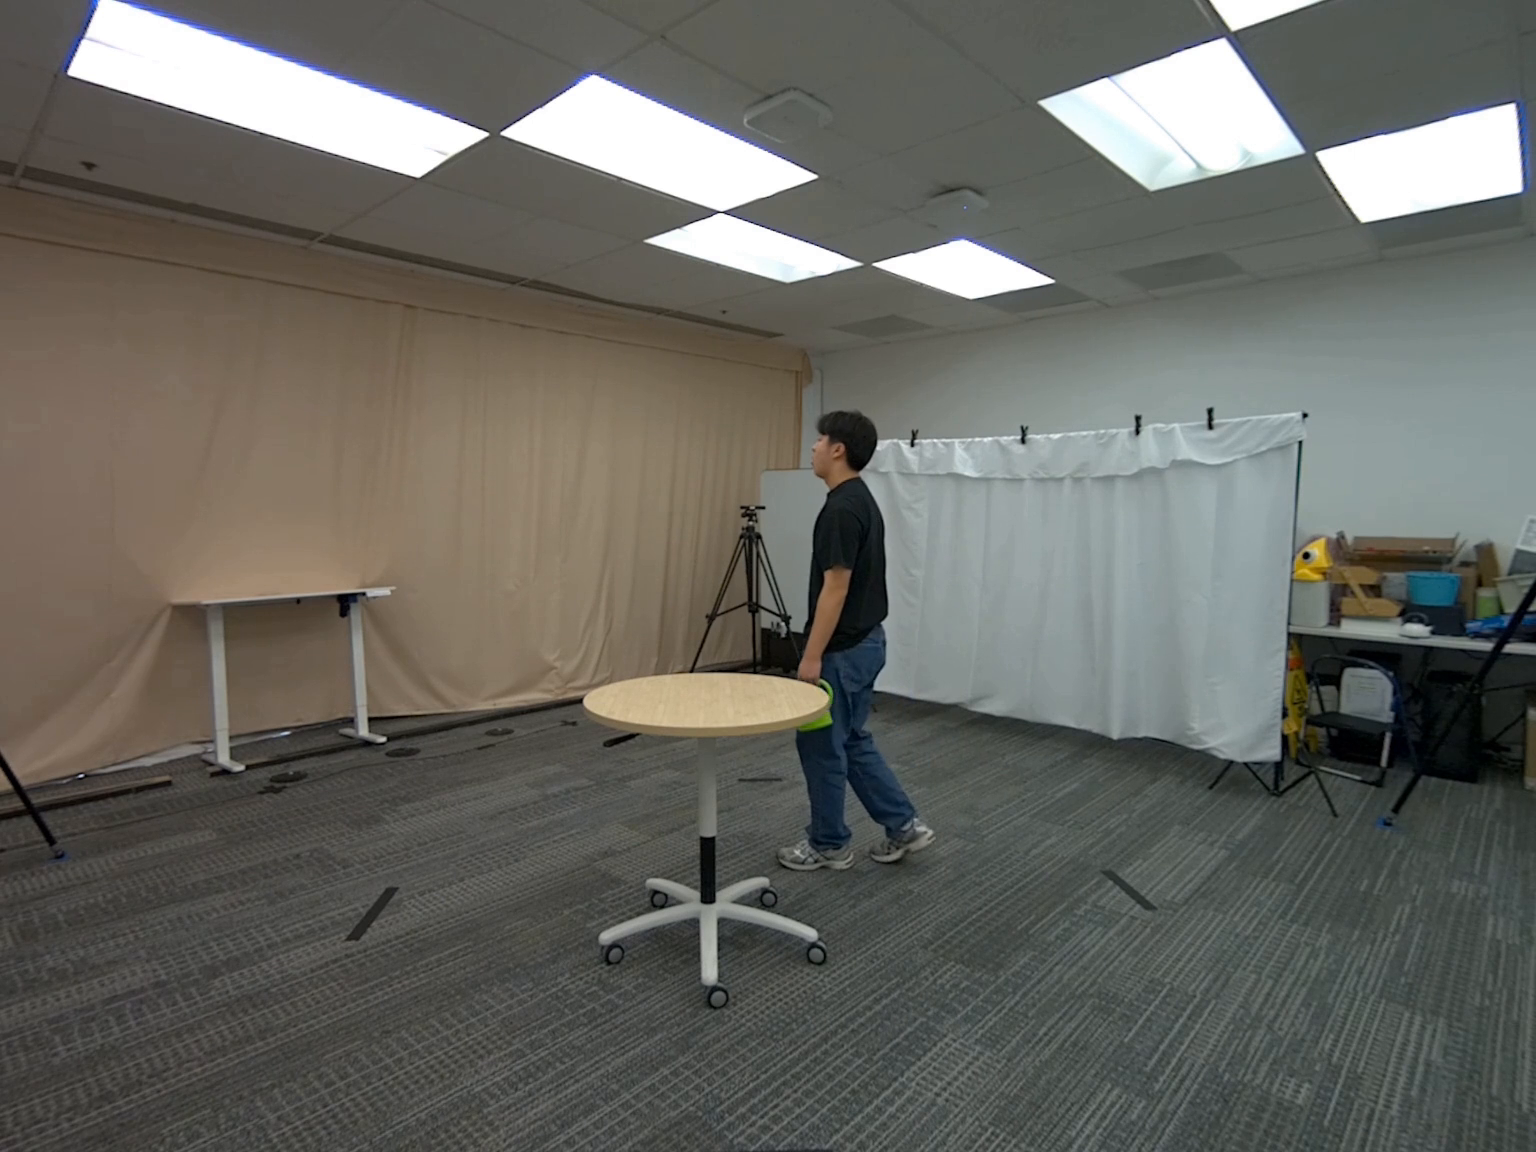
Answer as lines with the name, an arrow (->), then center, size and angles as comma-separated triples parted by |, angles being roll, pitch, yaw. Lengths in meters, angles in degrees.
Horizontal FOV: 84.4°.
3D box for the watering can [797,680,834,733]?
watering can -> 0.119, 0.473, 3.088 | 0.285, 0.177, 0.095 | -15, -4, 35
